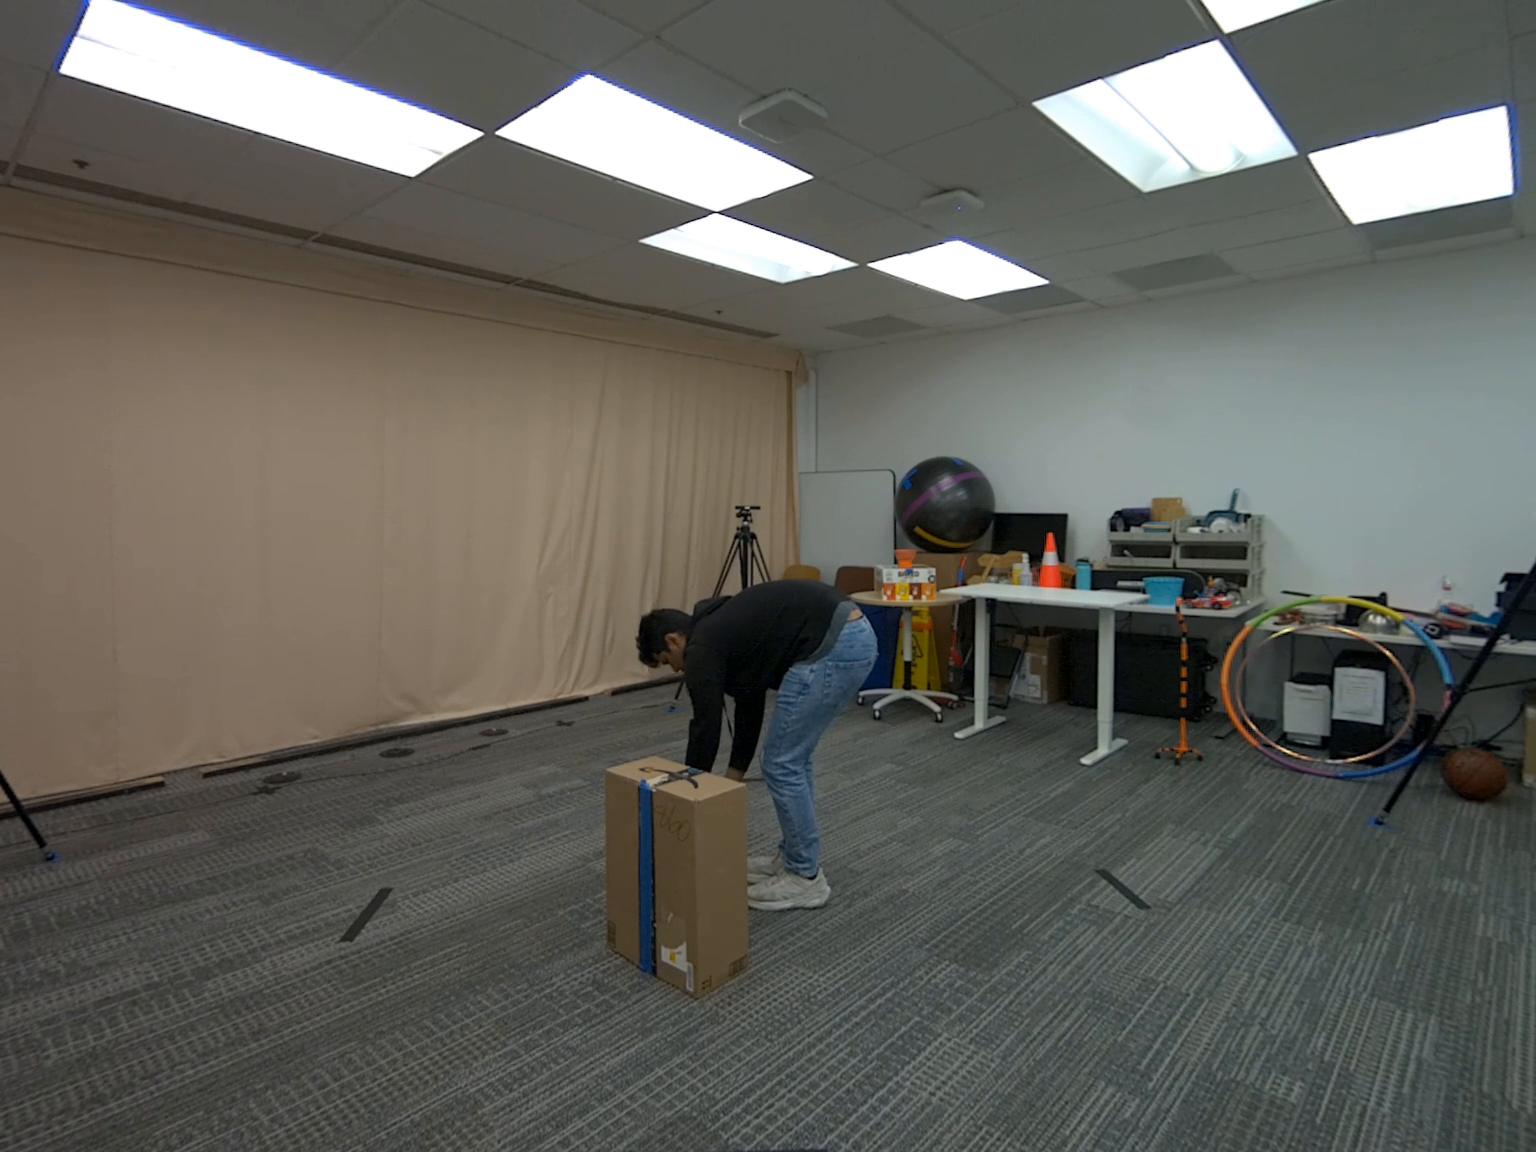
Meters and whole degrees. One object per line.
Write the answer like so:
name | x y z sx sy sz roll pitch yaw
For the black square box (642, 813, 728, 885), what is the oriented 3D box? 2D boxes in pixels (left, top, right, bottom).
black square box | -0.313 1.011 3.162 0.221 0.156 0.224 0 2 -39
